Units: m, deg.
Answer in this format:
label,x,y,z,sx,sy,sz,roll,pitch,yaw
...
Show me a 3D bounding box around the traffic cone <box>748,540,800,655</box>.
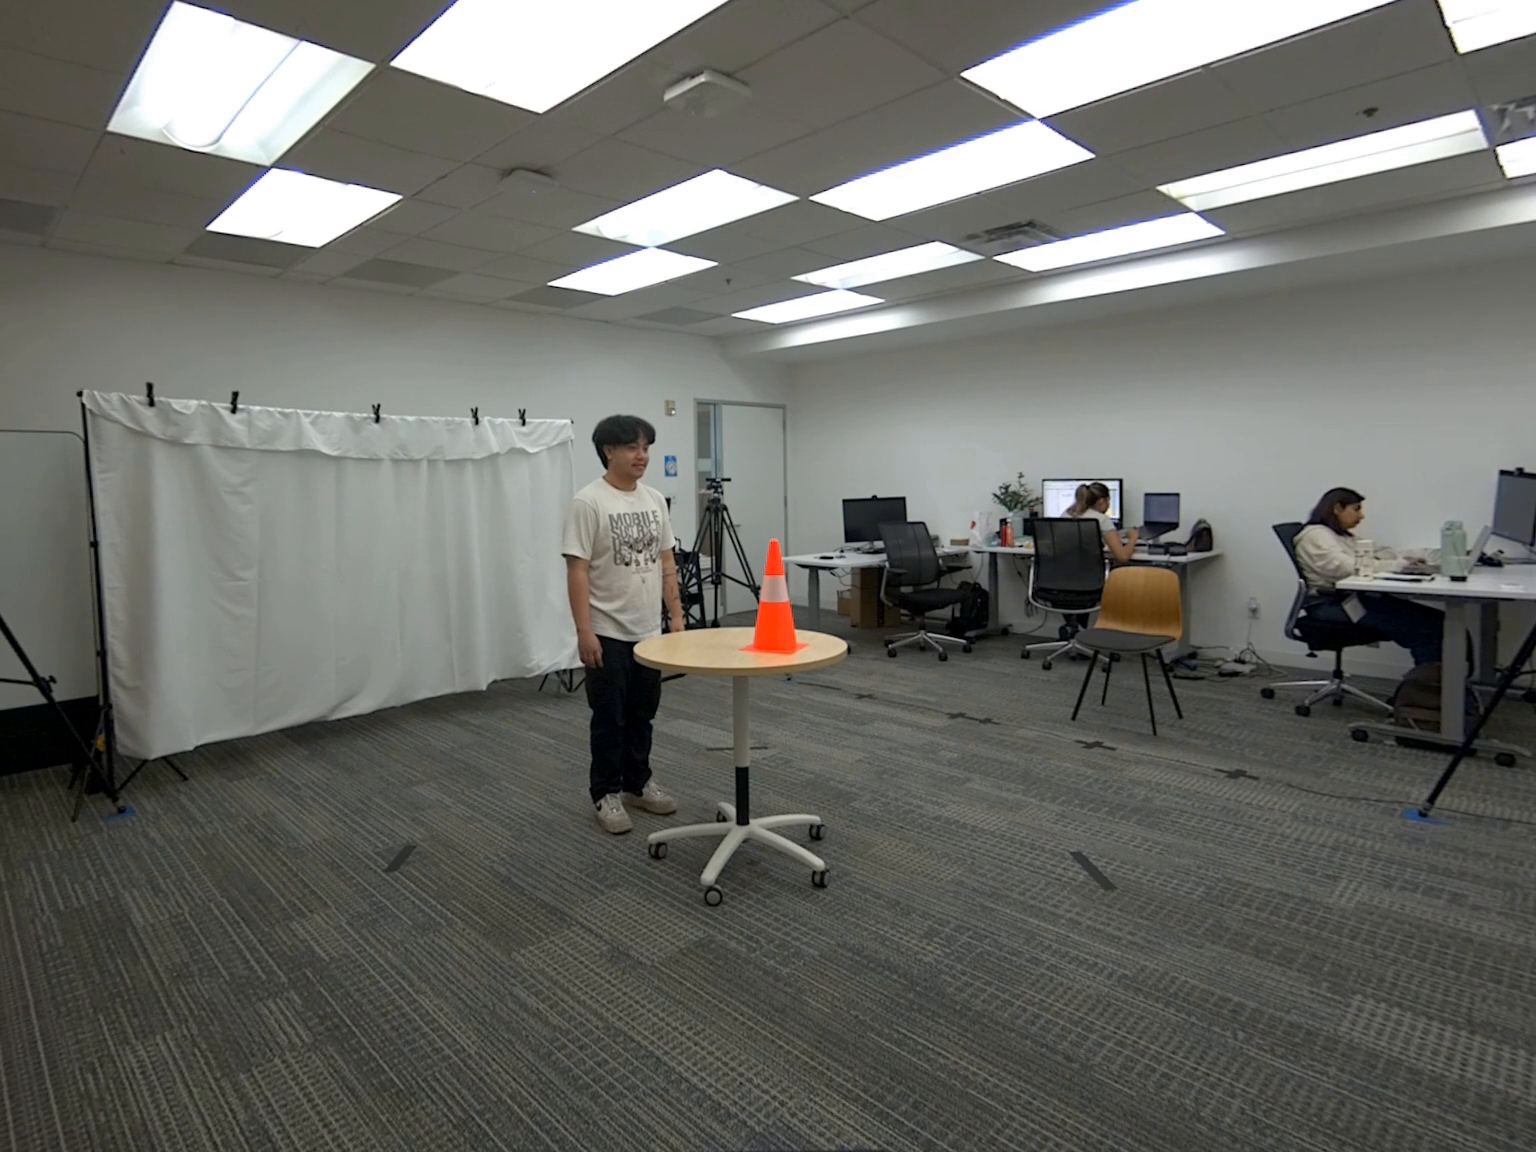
label,x,y,z,sx,sy,sz,roll,pitch,yaw
traffic cone,0.022,0.067,3.010,0.207,0.382,0.201,0,5,22
